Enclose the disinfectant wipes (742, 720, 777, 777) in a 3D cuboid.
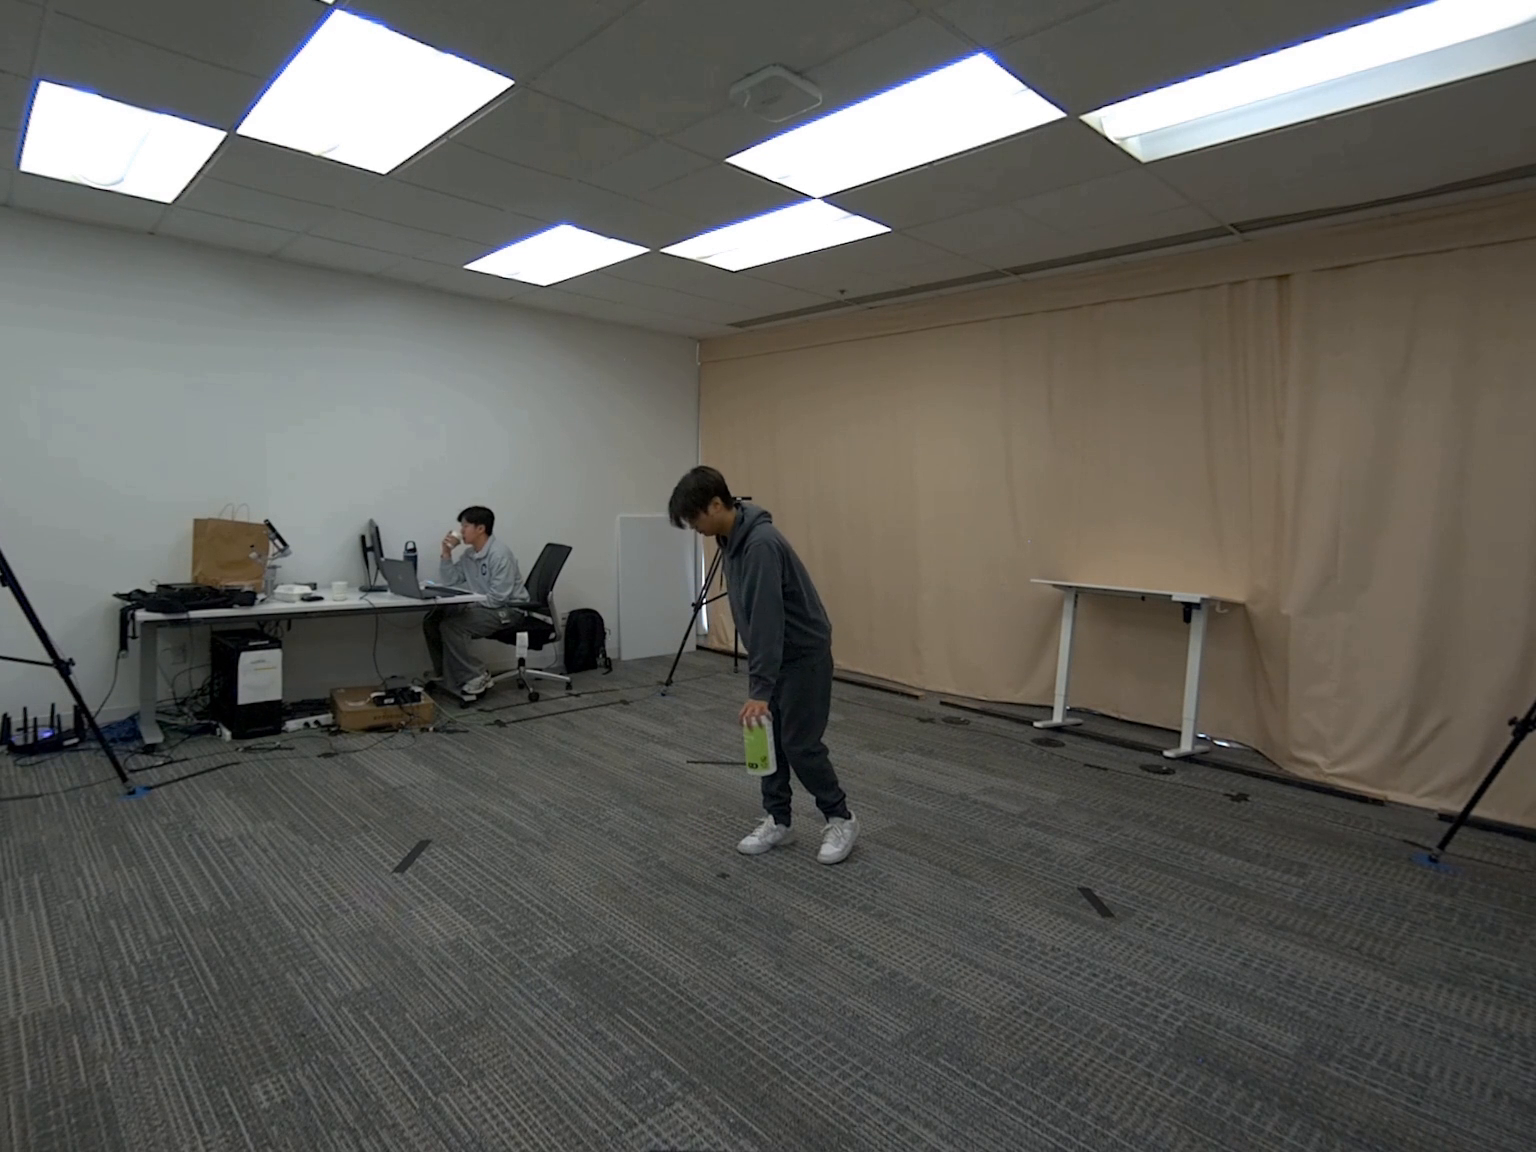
[{"bbox_3d":[-0.044,0.604,3.032,0.118,0.217,0.118,-5,4,-1],"label":"disinfectant wipes"}]
